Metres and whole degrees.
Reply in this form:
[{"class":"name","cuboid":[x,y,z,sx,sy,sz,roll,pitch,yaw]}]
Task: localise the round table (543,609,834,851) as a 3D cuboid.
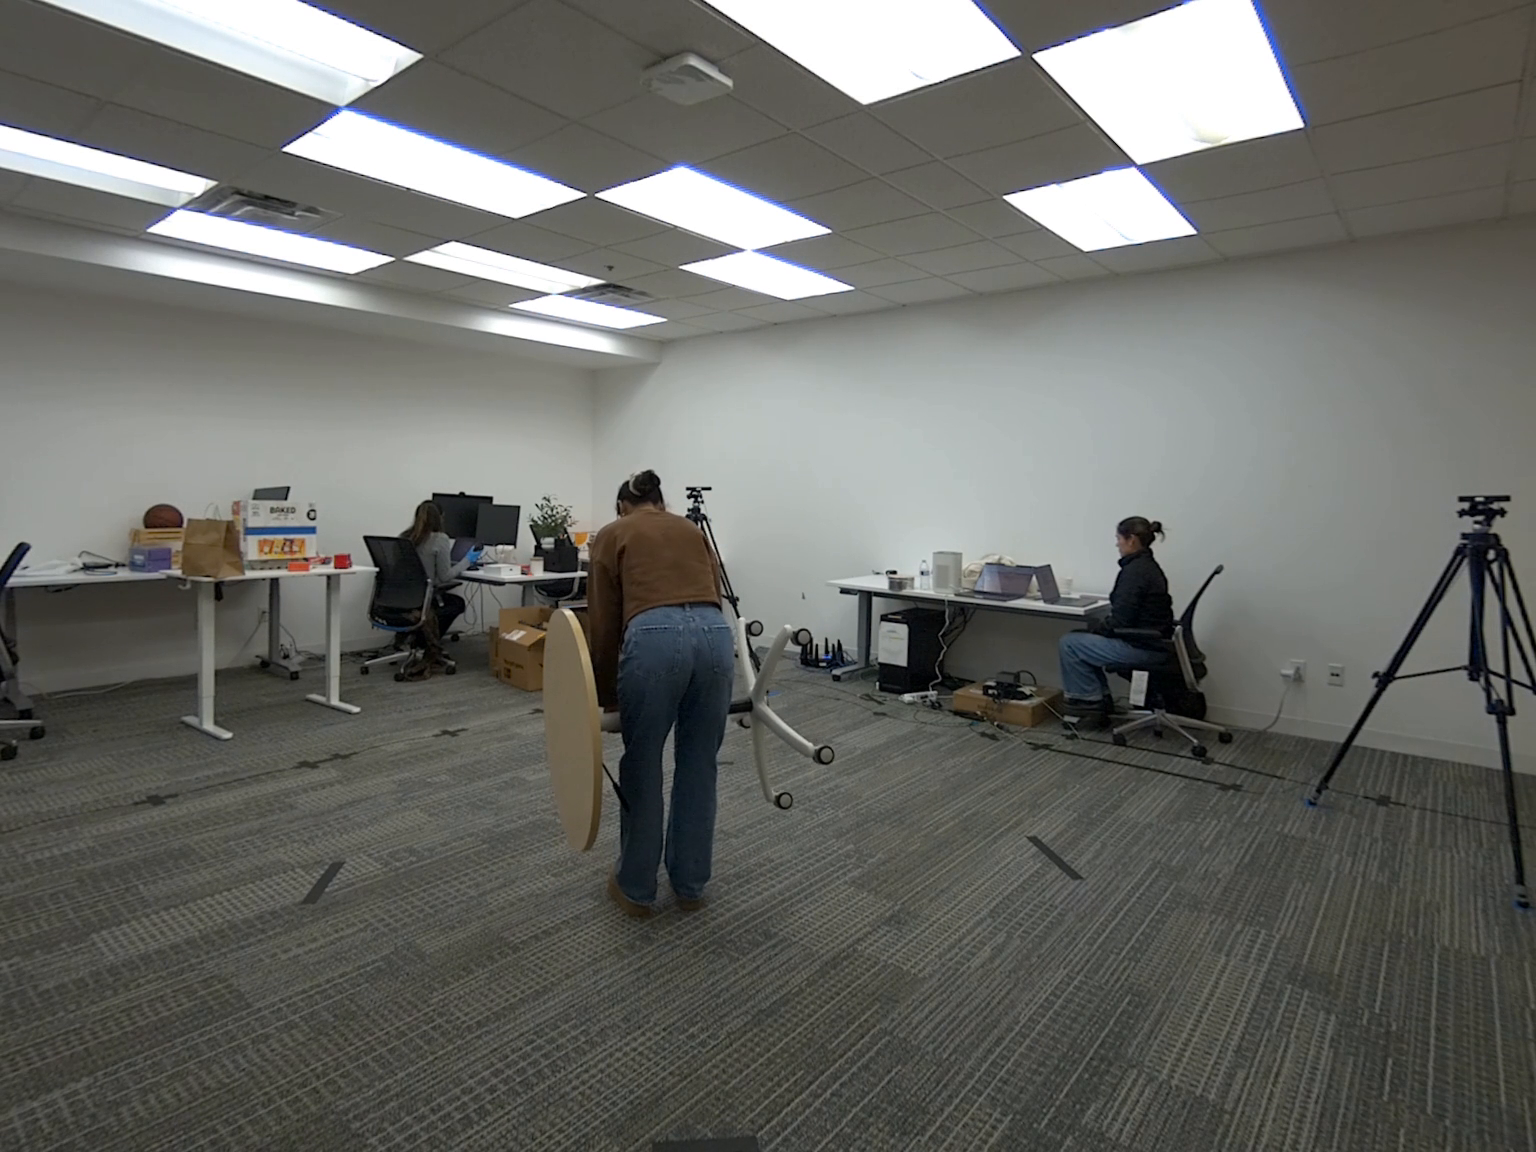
[{"class":"round table","cuboid":[-0.308,0.478,2.905,0.776,0.761,0.784,-2,5,-24]}]
